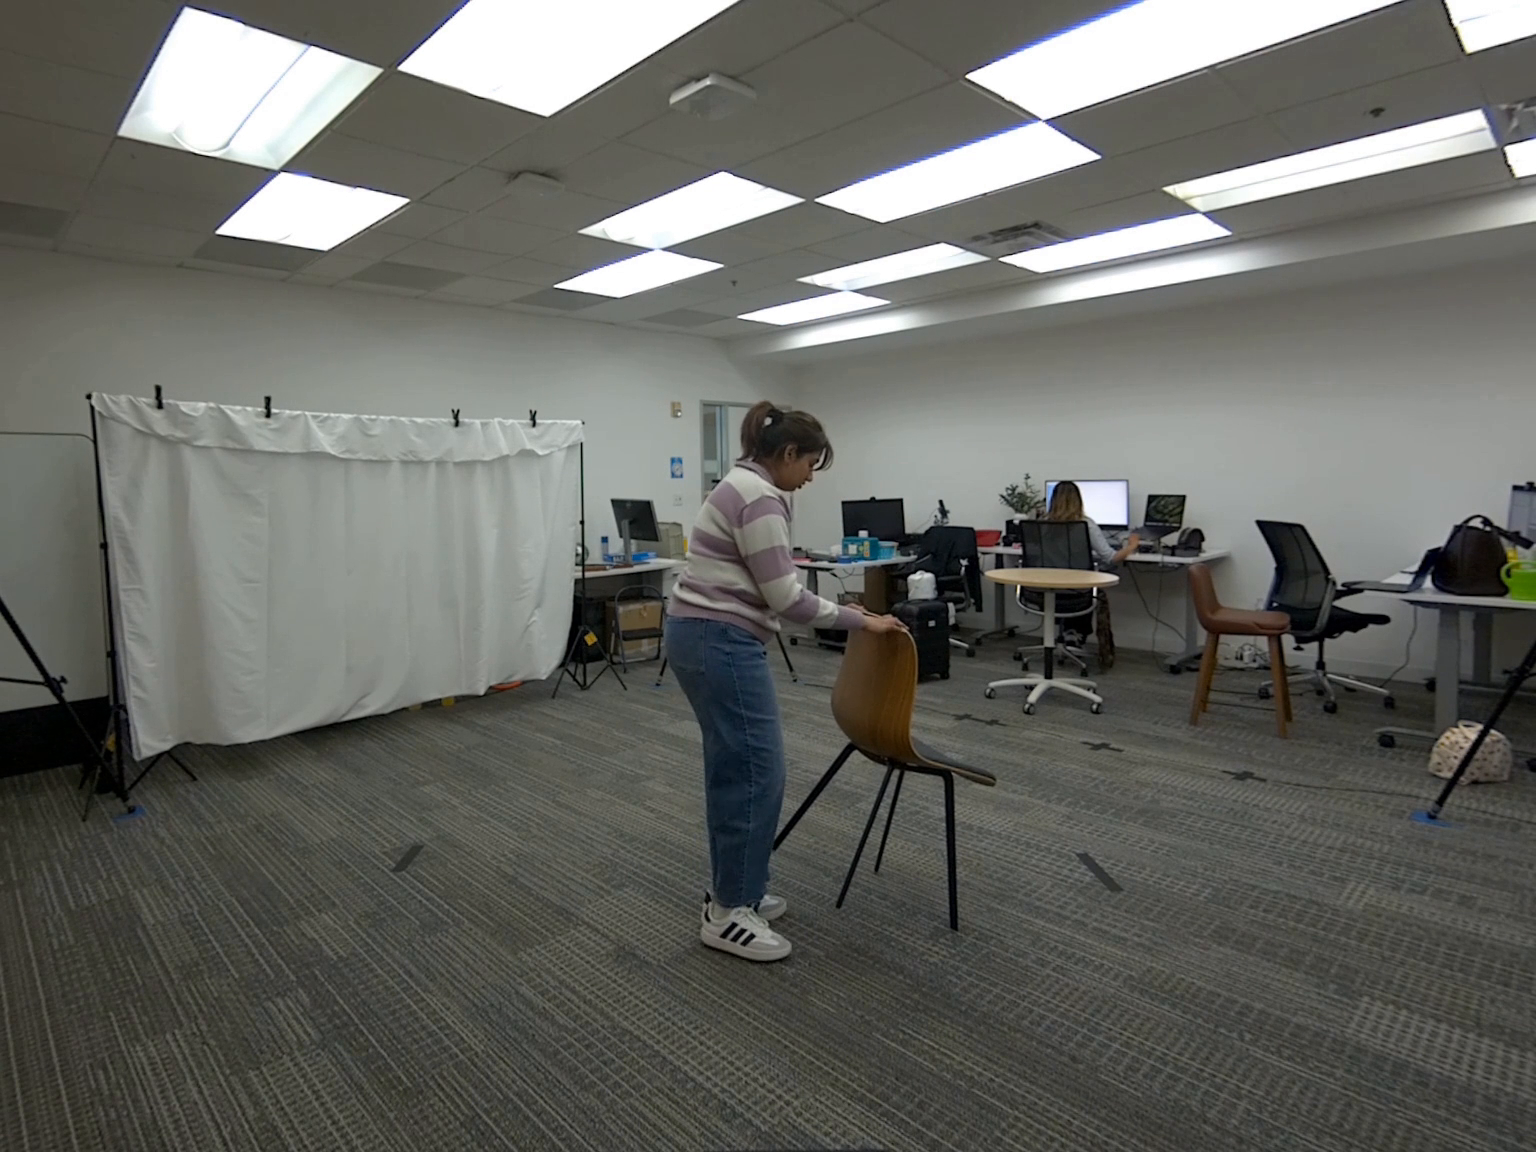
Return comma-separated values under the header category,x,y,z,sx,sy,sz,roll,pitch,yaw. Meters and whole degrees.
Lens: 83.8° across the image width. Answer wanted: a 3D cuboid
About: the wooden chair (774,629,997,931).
category,x,y,z,sx,sy,sz,roll,pitch,yaw
wooden chair,0.432,0.601,2.779,0.510,0.879,0.489,15,-3,-24
